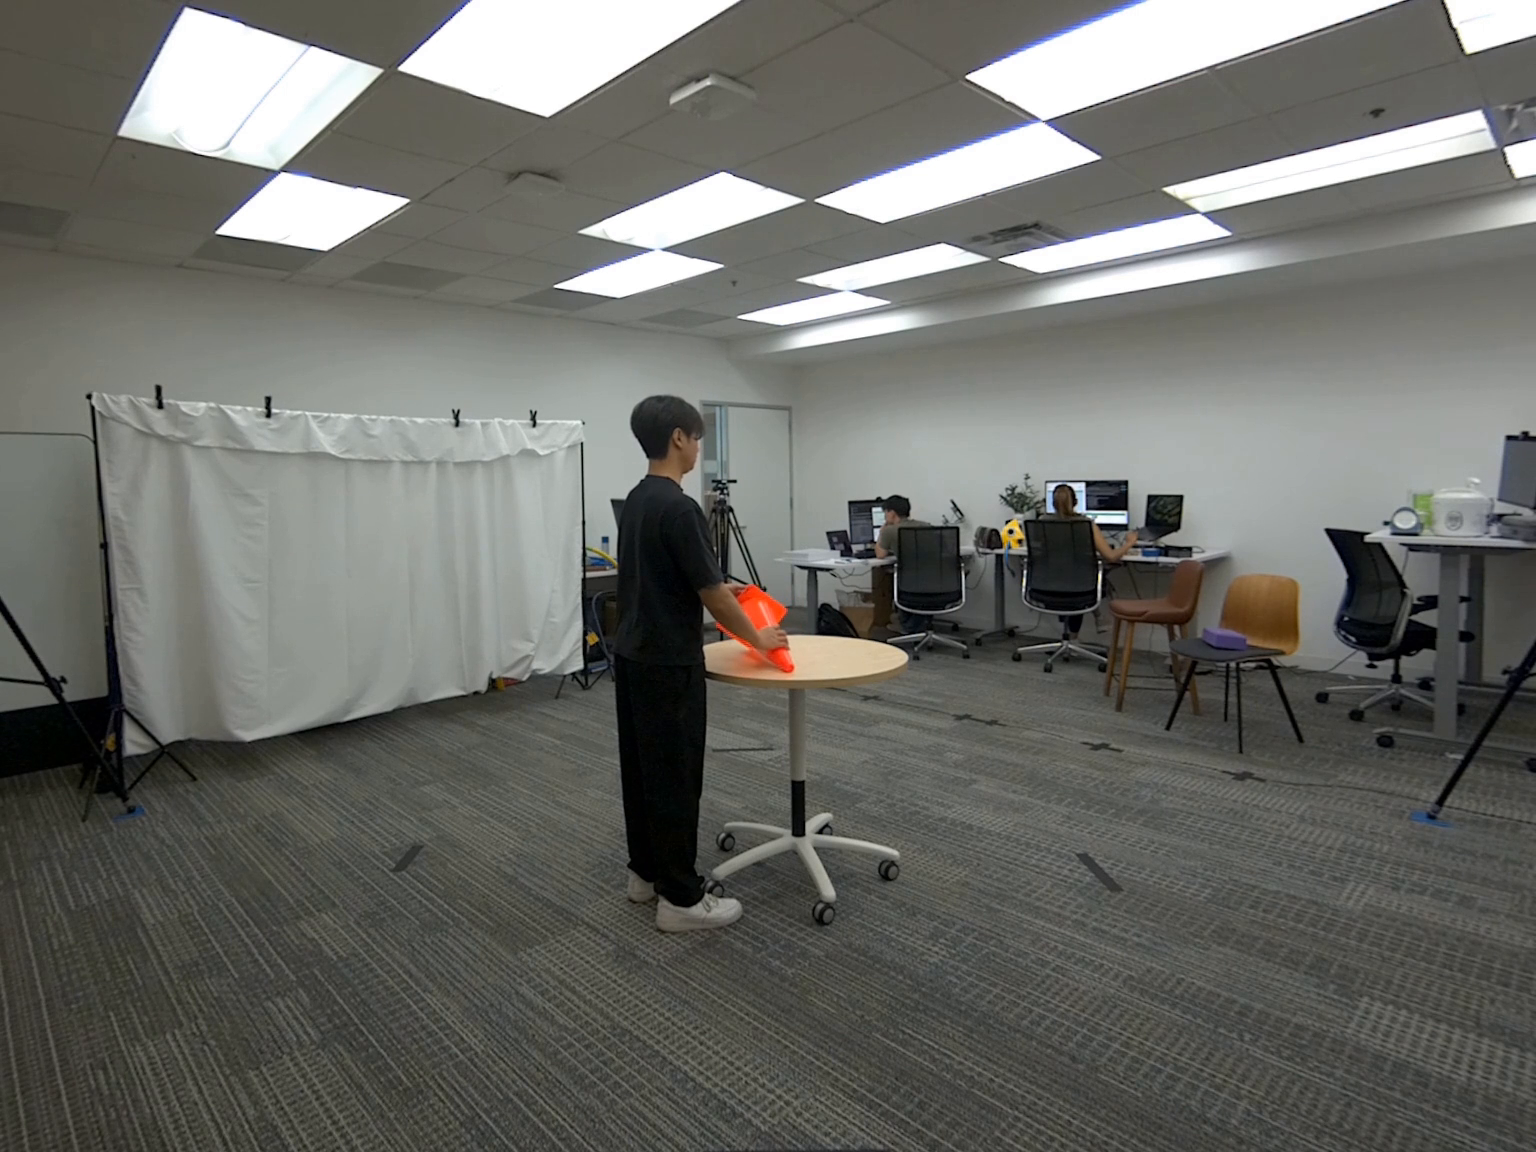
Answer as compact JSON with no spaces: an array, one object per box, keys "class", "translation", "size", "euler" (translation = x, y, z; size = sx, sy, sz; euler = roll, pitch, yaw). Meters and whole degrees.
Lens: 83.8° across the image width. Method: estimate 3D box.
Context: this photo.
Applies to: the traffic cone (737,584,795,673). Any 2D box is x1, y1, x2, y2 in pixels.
[{"class":"traffic cone","translation":[0.002,0.225,2.869],"size":[0.199,0.203,0.396],"euler":[37,6,-27]}]
